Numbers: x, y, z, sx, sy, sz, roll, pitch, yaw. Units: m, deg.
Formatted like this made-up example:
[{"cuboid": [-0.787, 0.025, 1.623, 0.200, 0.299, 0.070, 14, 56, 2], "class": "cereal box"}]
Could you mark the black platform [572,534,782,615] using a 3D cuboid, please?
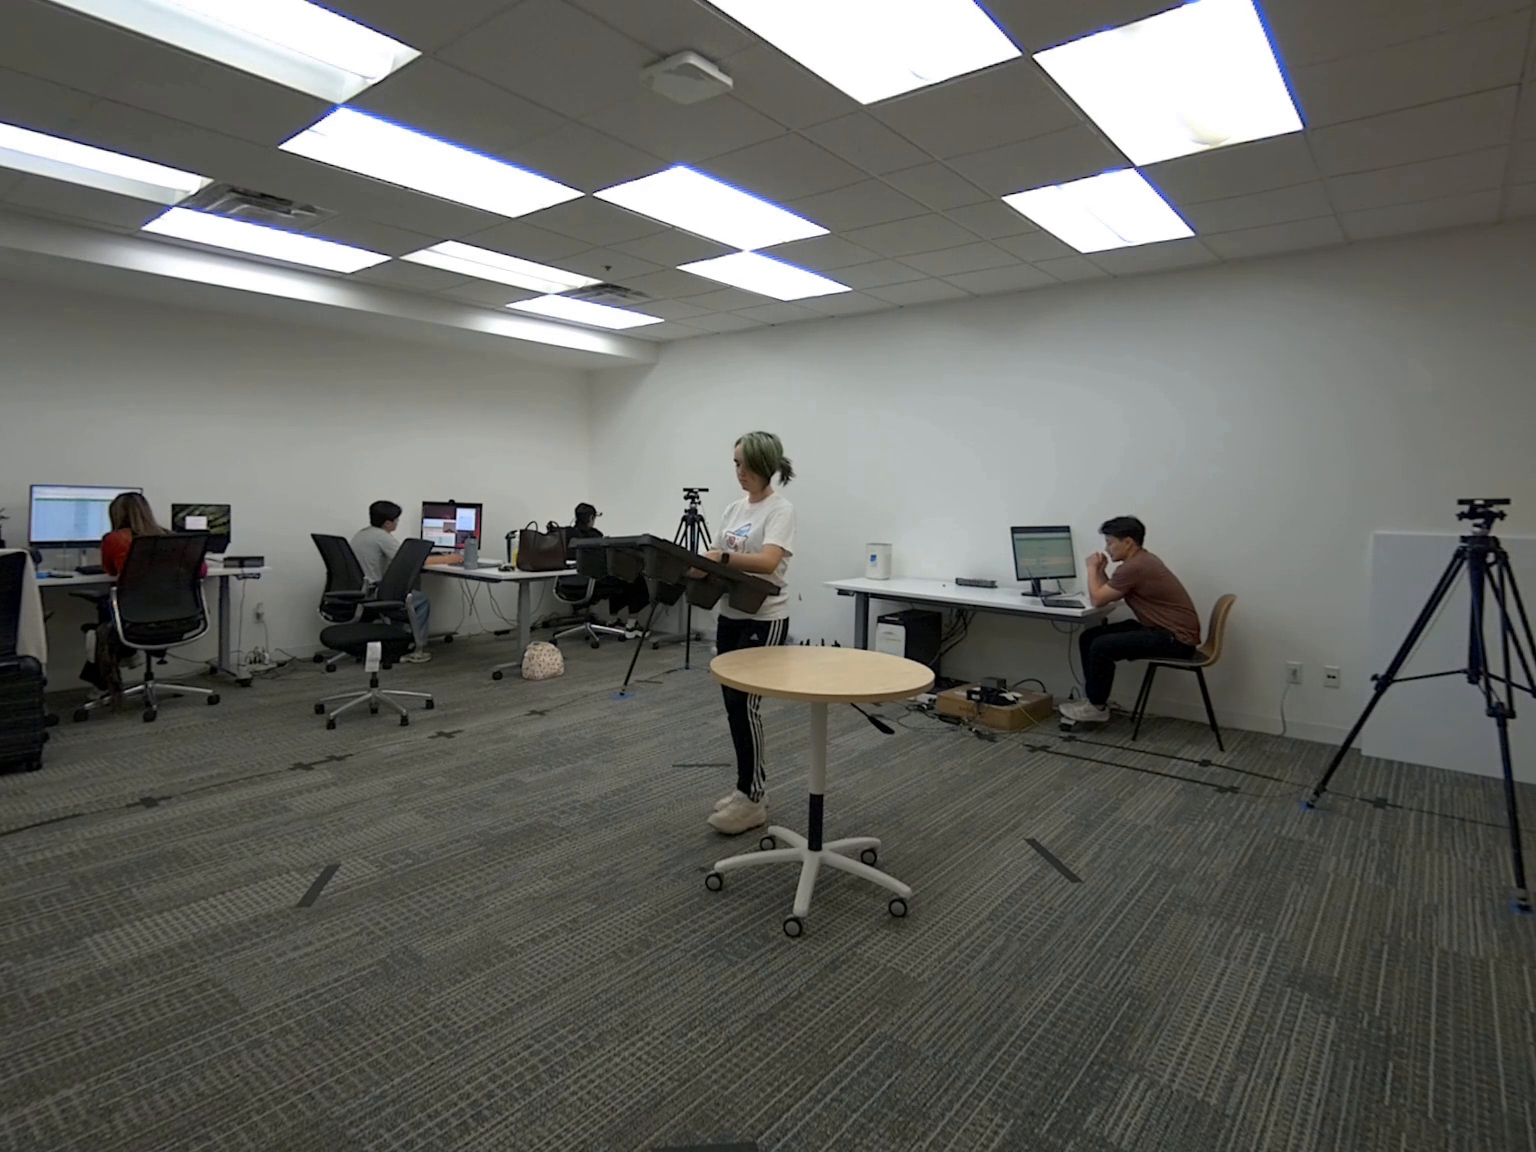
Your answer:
[{"cuboid": [-0.427, 0.000, 3.439, 0.584, 0.144, 0.828, 22, -12, -31], "class": "black platform"}]
